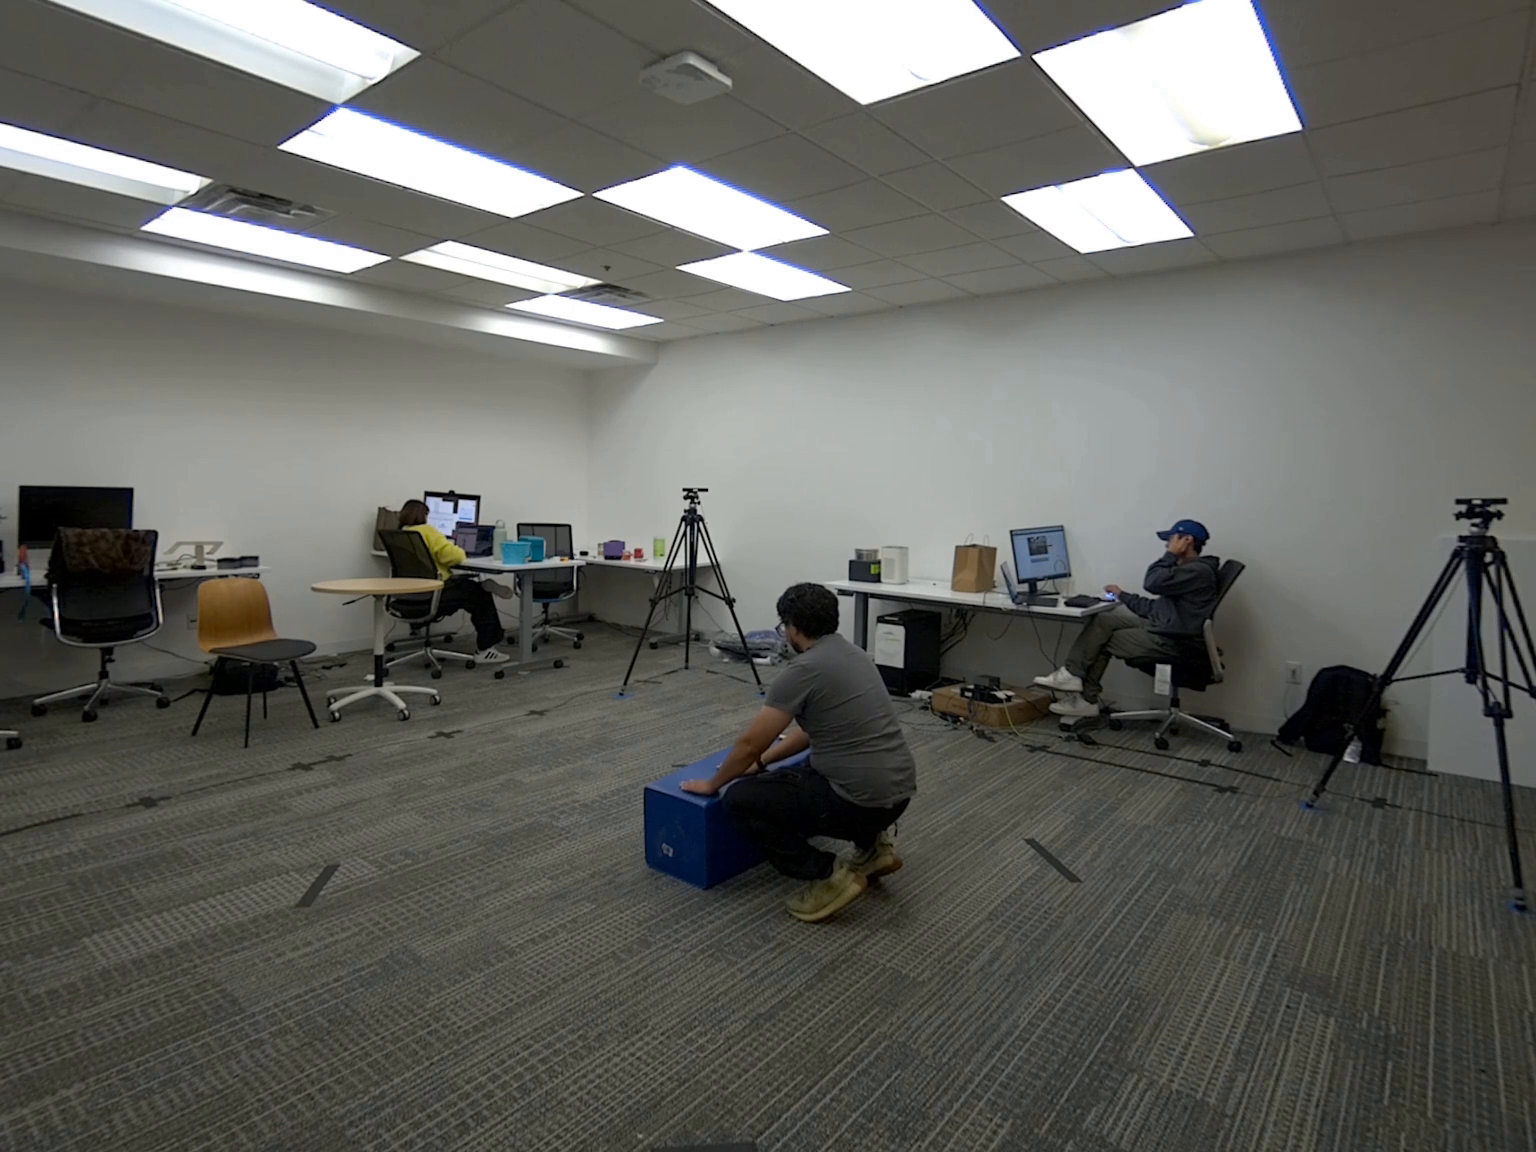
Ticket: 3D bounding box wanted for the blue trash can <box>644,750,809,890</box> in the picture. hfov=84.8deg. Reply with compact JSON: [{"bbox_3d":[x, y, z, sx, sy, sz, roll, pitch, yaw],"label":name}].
[{"bbox_3d":[-0.136,0.880,3.292,0.387,0.376,0.693,5,8,39],"label":"blue trash can"}]
